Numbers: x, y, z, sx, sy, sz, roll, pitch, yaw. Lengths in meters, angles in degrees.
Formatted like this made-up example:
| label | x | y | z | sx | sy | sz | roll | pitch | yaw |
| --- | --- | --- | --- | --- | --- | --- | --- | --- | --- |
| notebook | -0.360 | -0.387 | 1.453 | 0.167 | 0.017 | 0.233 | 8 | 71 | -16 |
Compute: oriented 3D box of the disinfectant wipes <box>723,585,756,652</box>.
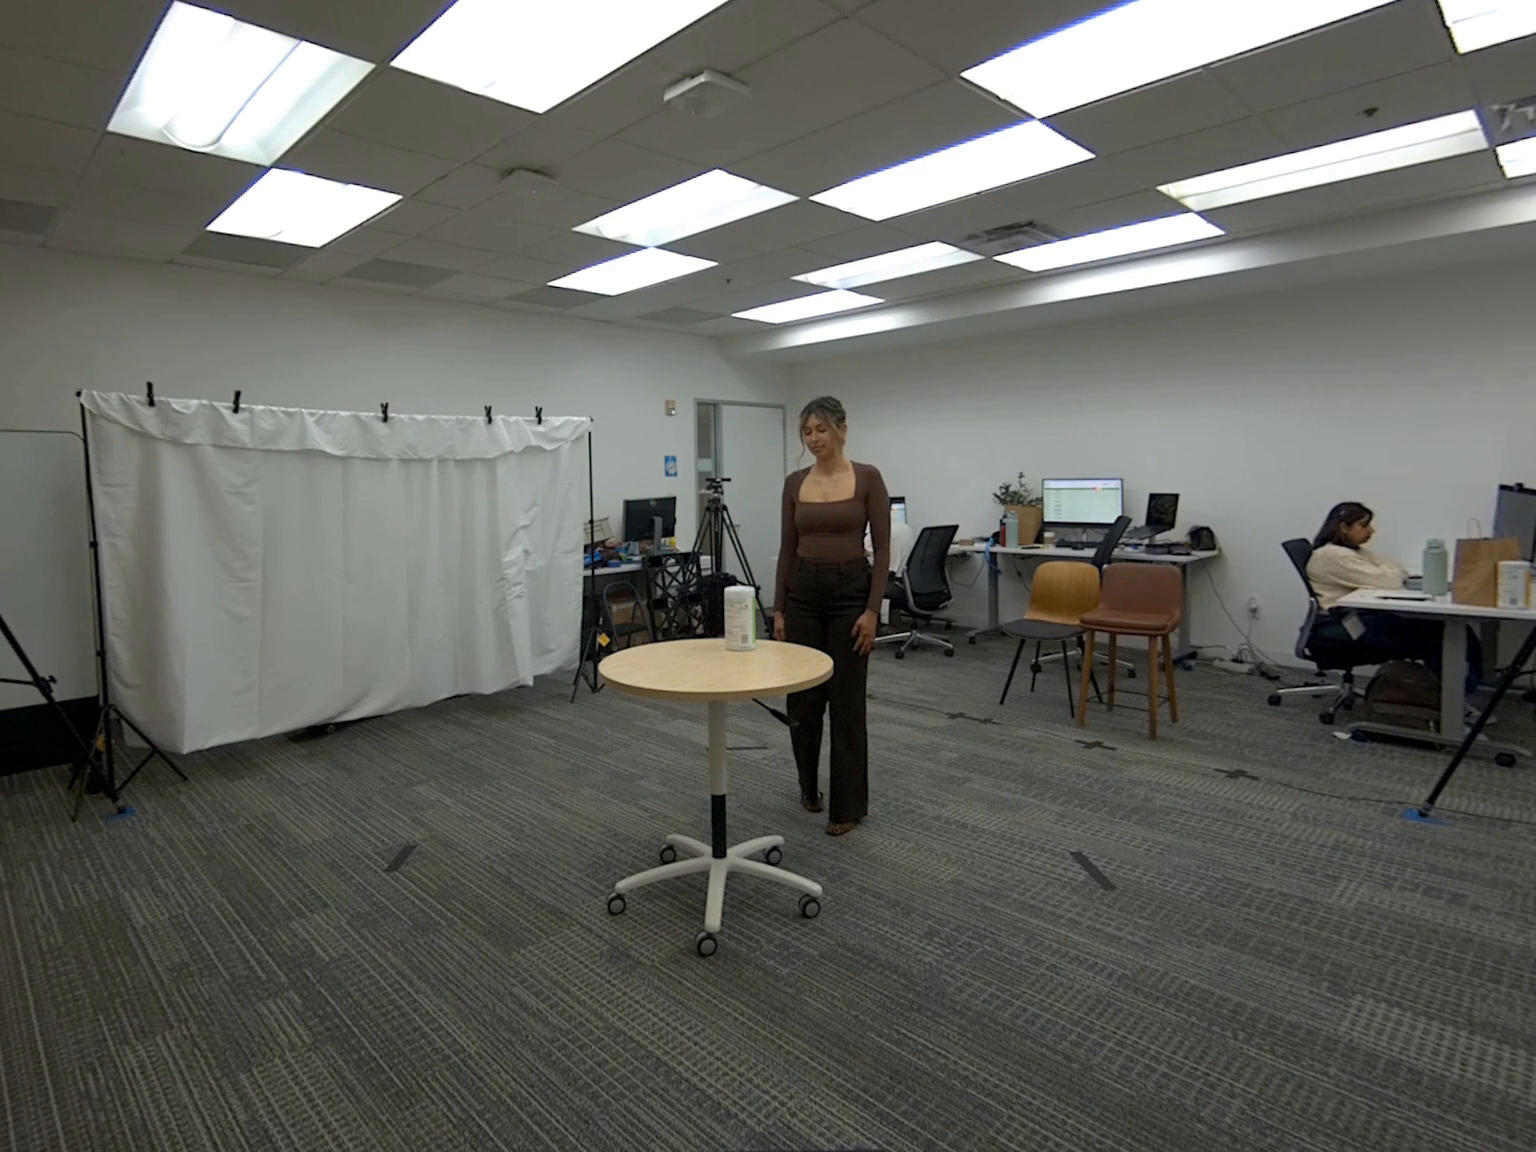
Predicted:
| label | x | y | z | sx | sy | sz | roll | pitch | yaw |
| --- | --- | --- | --- | --- | --- | --- | --- | --- | --- |
| disinfectant wipes | -0.103 | 0.148 | 3.002 | 0.118 | 0.217 | 0.118 | -1 | 3 | -2 |
